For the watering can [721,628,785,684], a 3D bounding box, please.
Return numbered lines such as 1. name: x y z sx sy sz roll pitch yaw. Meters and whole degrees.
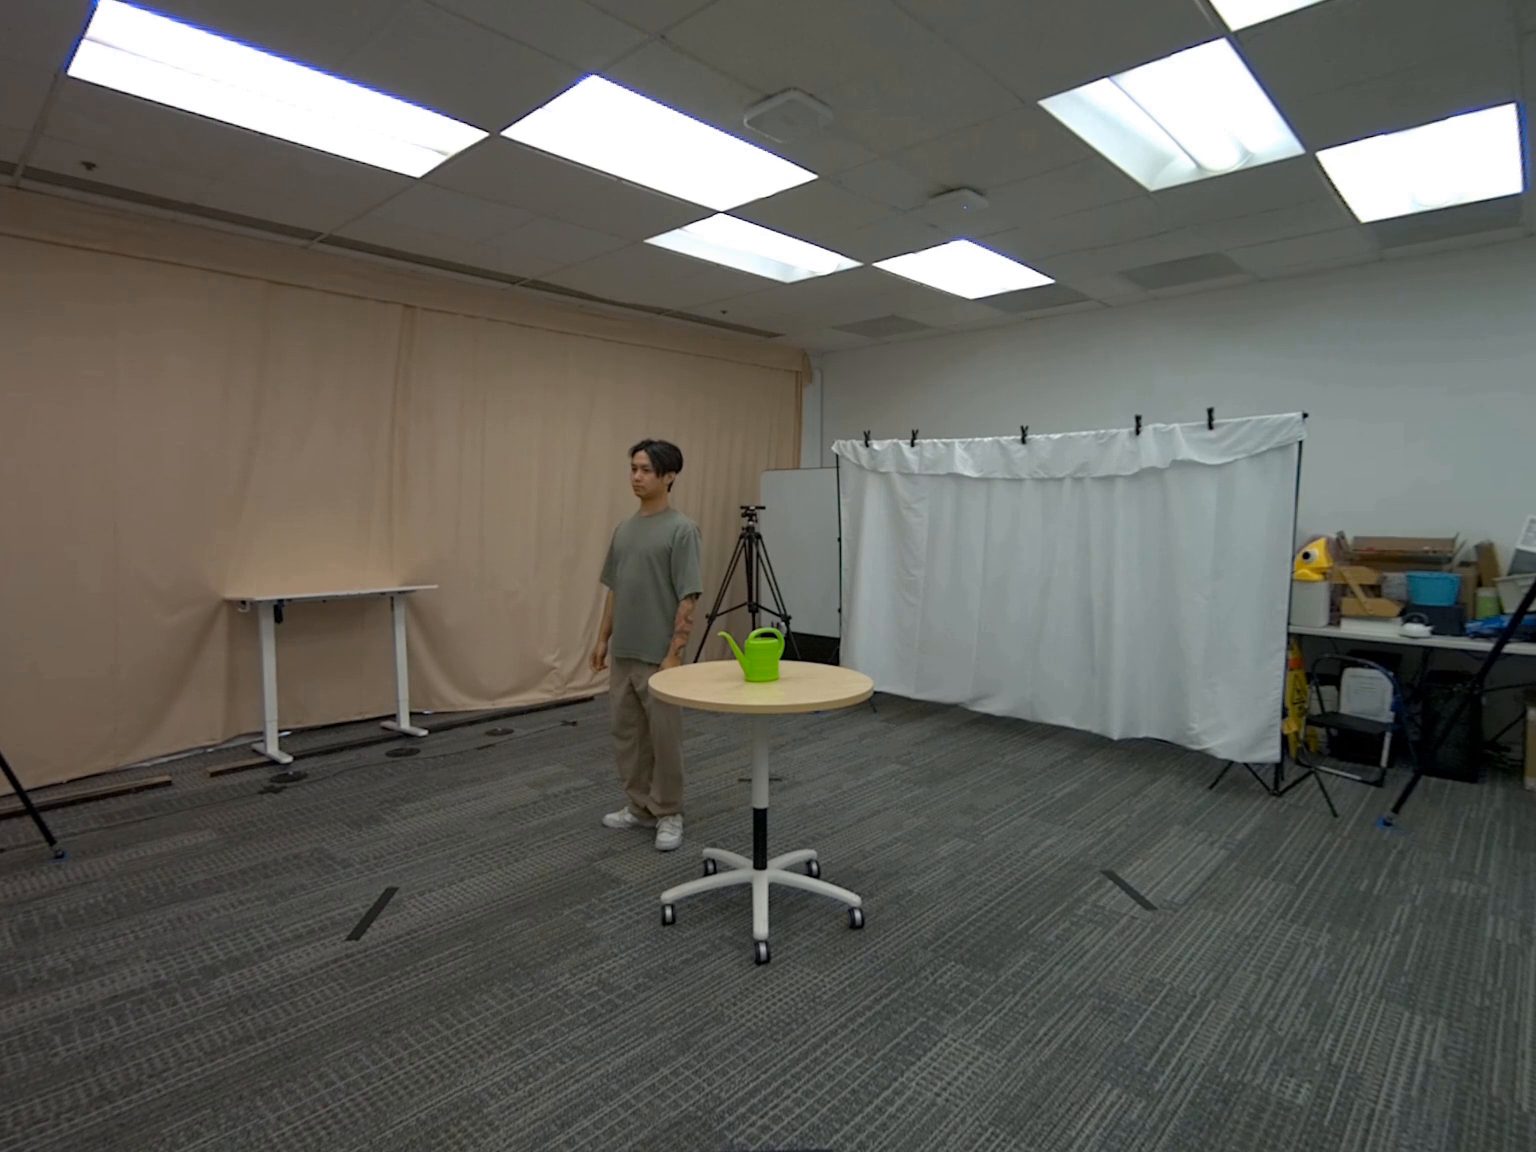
1. watering can: -0.059 0.269 2.865 0.272 0.176 0.100 0 2 -24
